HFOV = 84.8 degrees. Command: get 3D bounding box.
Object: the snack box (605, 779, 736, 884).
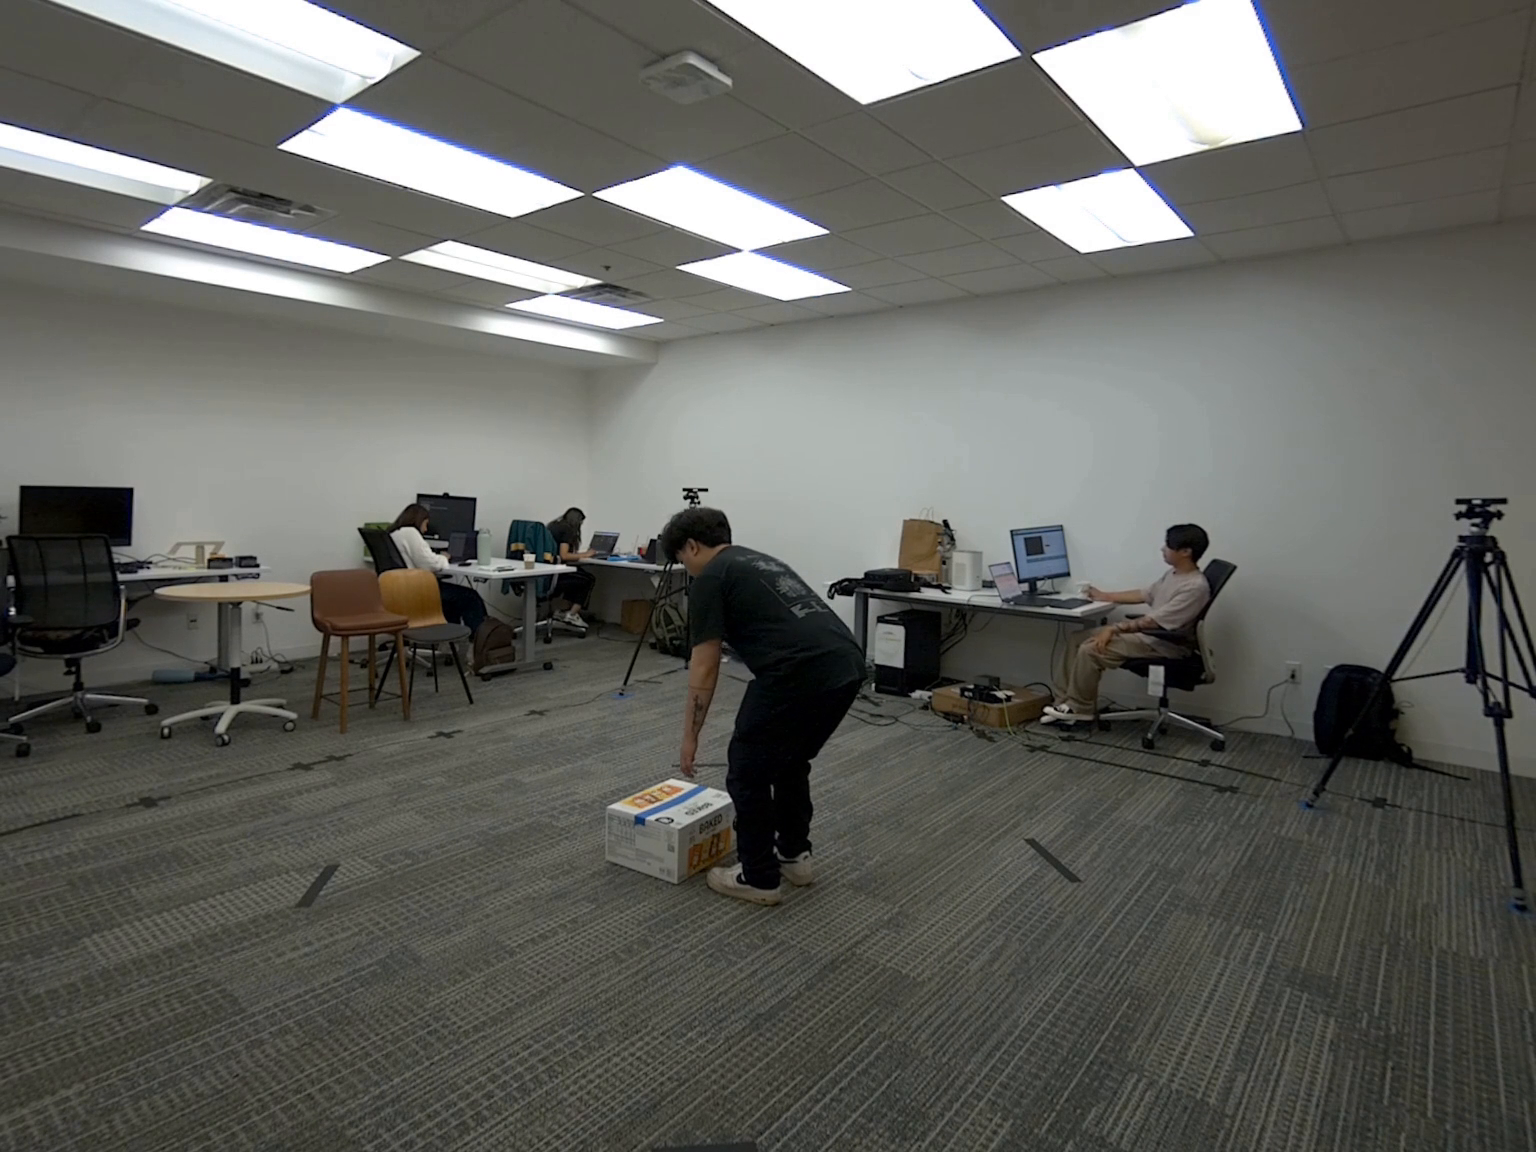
[{"bbox_3d":[-0.366,0.954,3.226,0.351,0.205,0.394,4,6,32],"label":"snack box"}]
